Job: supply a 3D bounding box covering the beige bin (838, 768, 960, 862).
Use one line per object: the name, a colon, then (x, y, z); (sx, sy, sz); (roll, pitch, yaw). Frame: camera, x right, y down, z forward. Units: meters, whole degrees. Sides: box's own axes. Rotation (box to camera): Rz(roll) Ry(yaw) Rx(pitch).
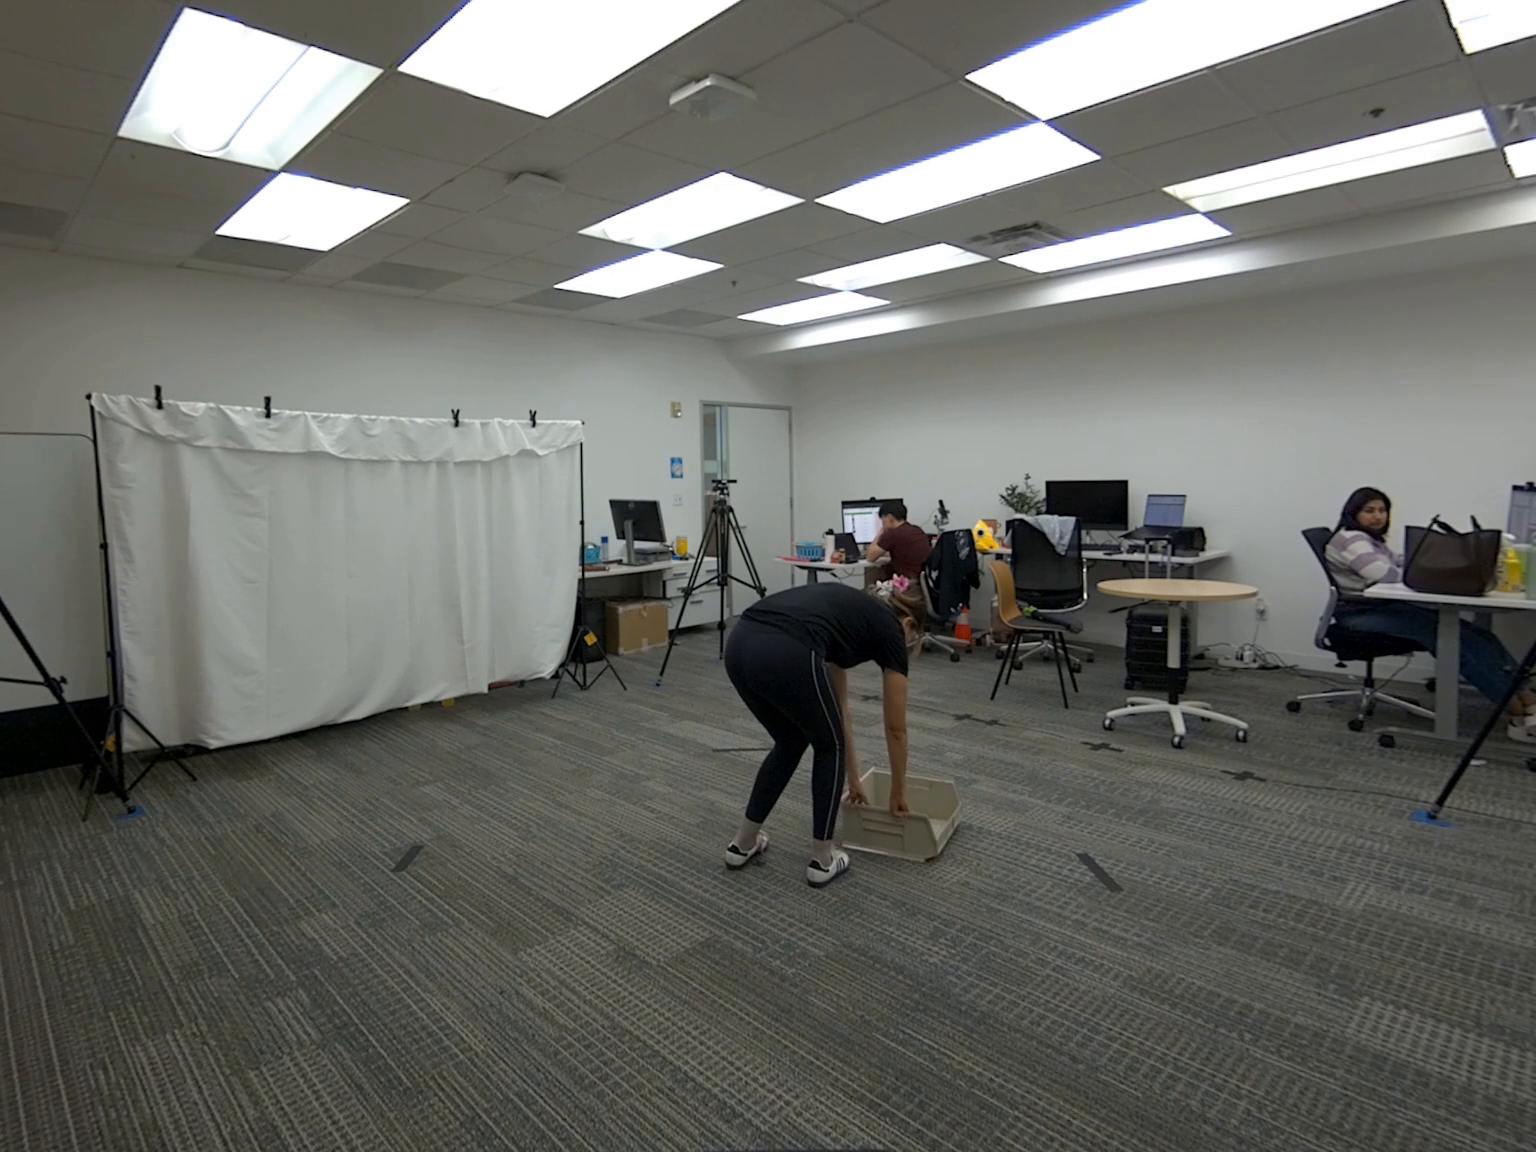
beige bin: (0.527, 0.924, 3.330); (0.386, 0.188, 0.414); (1, 6, 27)
